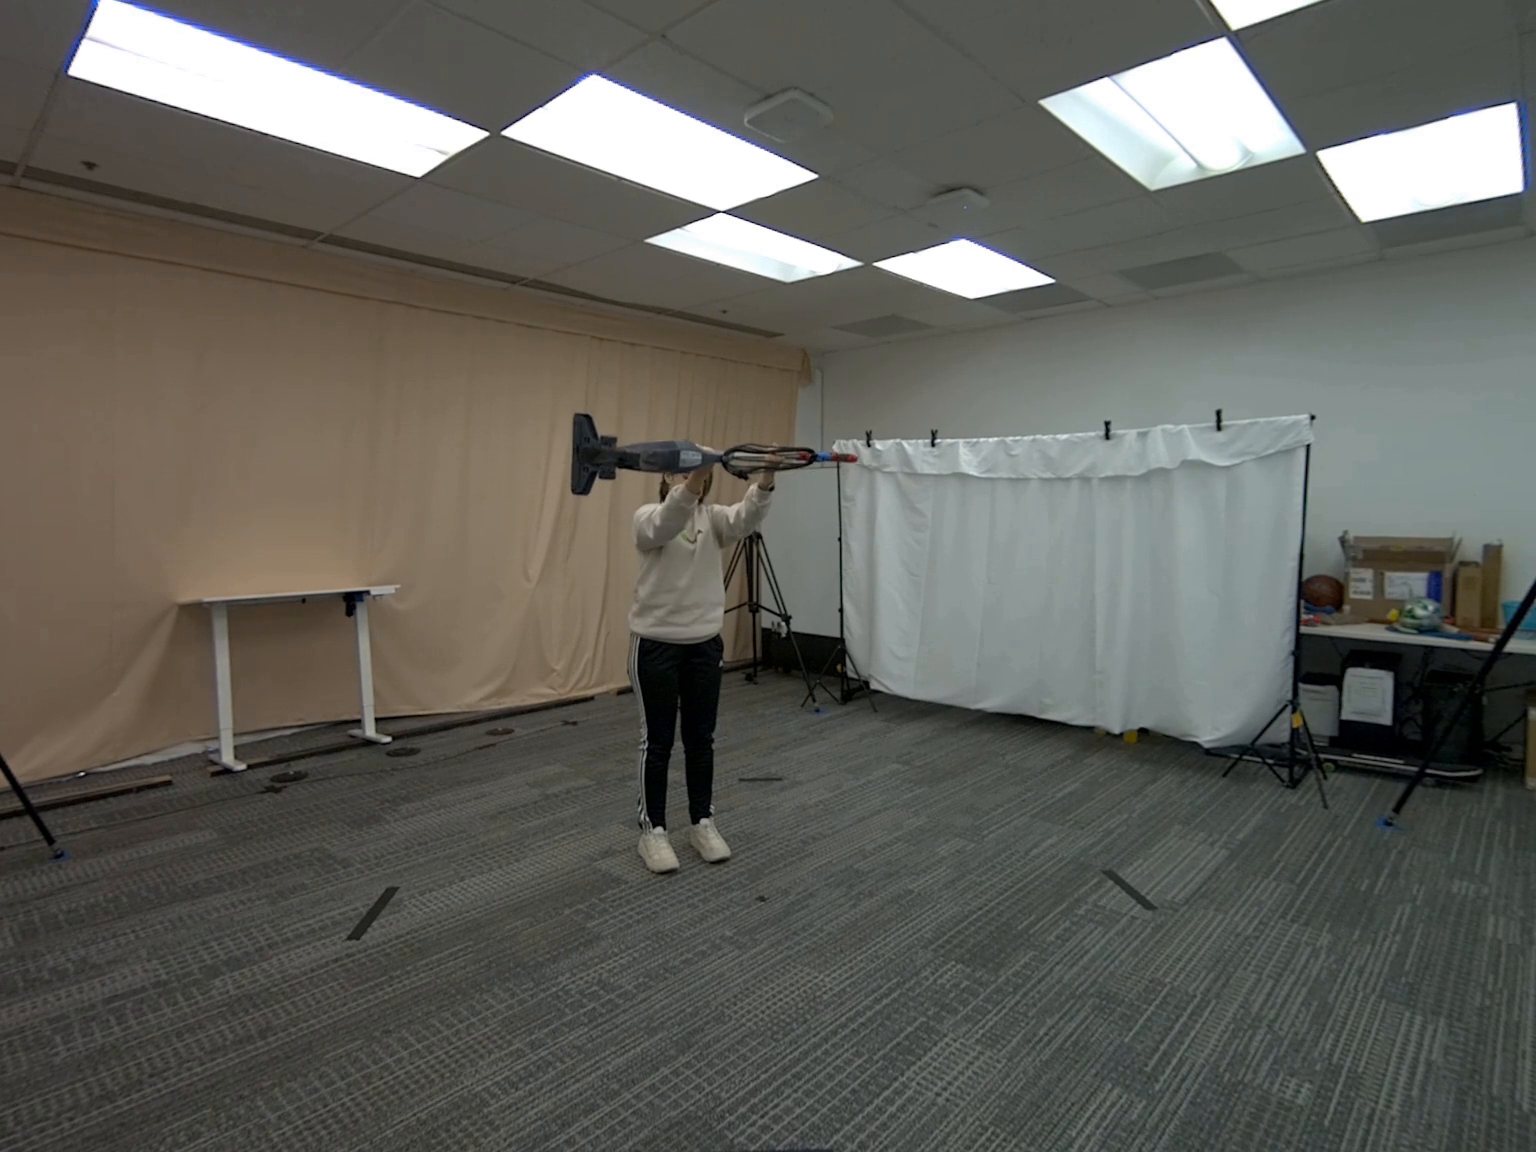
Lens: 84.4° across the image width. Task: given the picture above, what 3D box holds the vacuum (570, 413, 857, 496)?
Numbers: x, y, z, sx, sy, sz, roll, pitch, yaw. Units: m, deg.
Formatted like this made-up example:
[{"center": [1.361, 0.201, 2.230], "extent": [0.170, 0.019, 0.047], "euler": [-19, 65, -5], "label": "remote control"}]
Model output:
[{"center": [-0.117, -0.395, 2.849], "extent": [1.021, 0.251, 0.149], "euler": [-4, 18, -32], "label": "vacuum"}]
